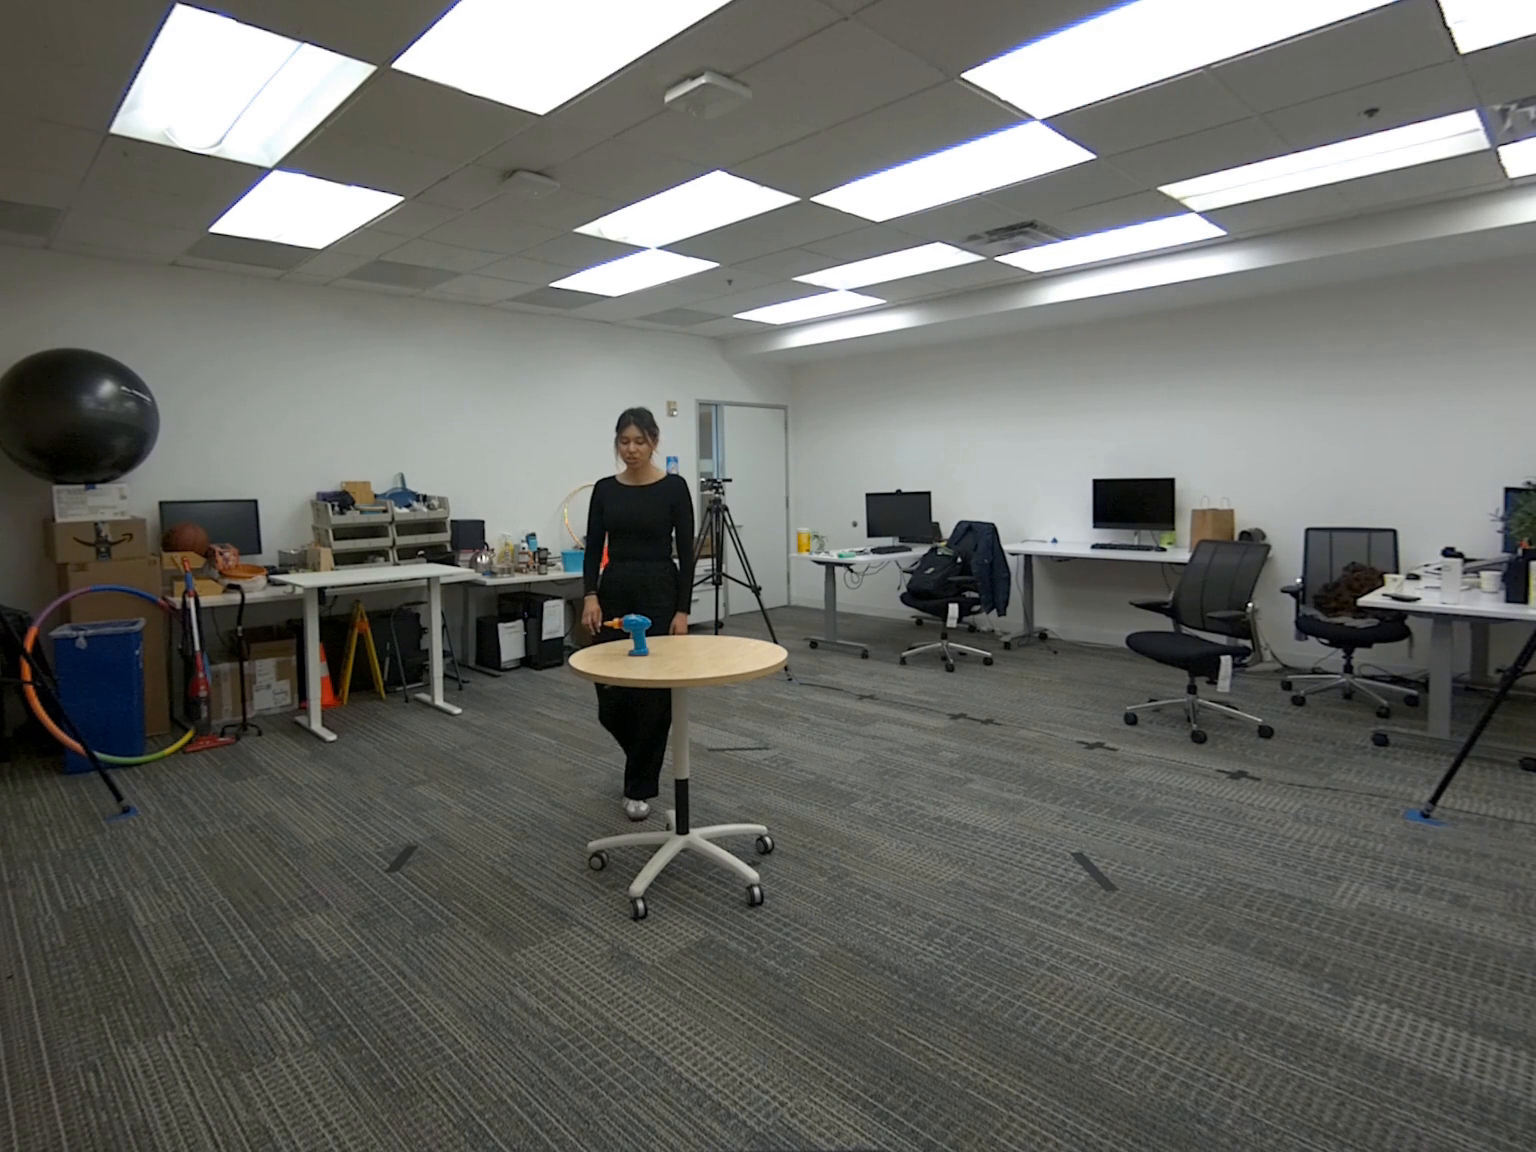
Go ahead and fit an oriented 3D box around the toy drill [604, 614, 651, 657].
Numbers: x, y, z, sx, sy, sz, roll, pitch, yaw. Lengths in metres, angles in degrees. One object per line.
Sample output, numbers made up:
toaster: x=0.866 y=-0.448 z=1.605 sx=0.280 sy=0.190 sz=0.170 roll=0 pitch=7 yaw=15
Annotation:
toy drill: x=-0.503 y=0.208 z=3.015 sx=0.170 sy=0.146 sz=0.061 roll=2 pitch=2 yaw=4
